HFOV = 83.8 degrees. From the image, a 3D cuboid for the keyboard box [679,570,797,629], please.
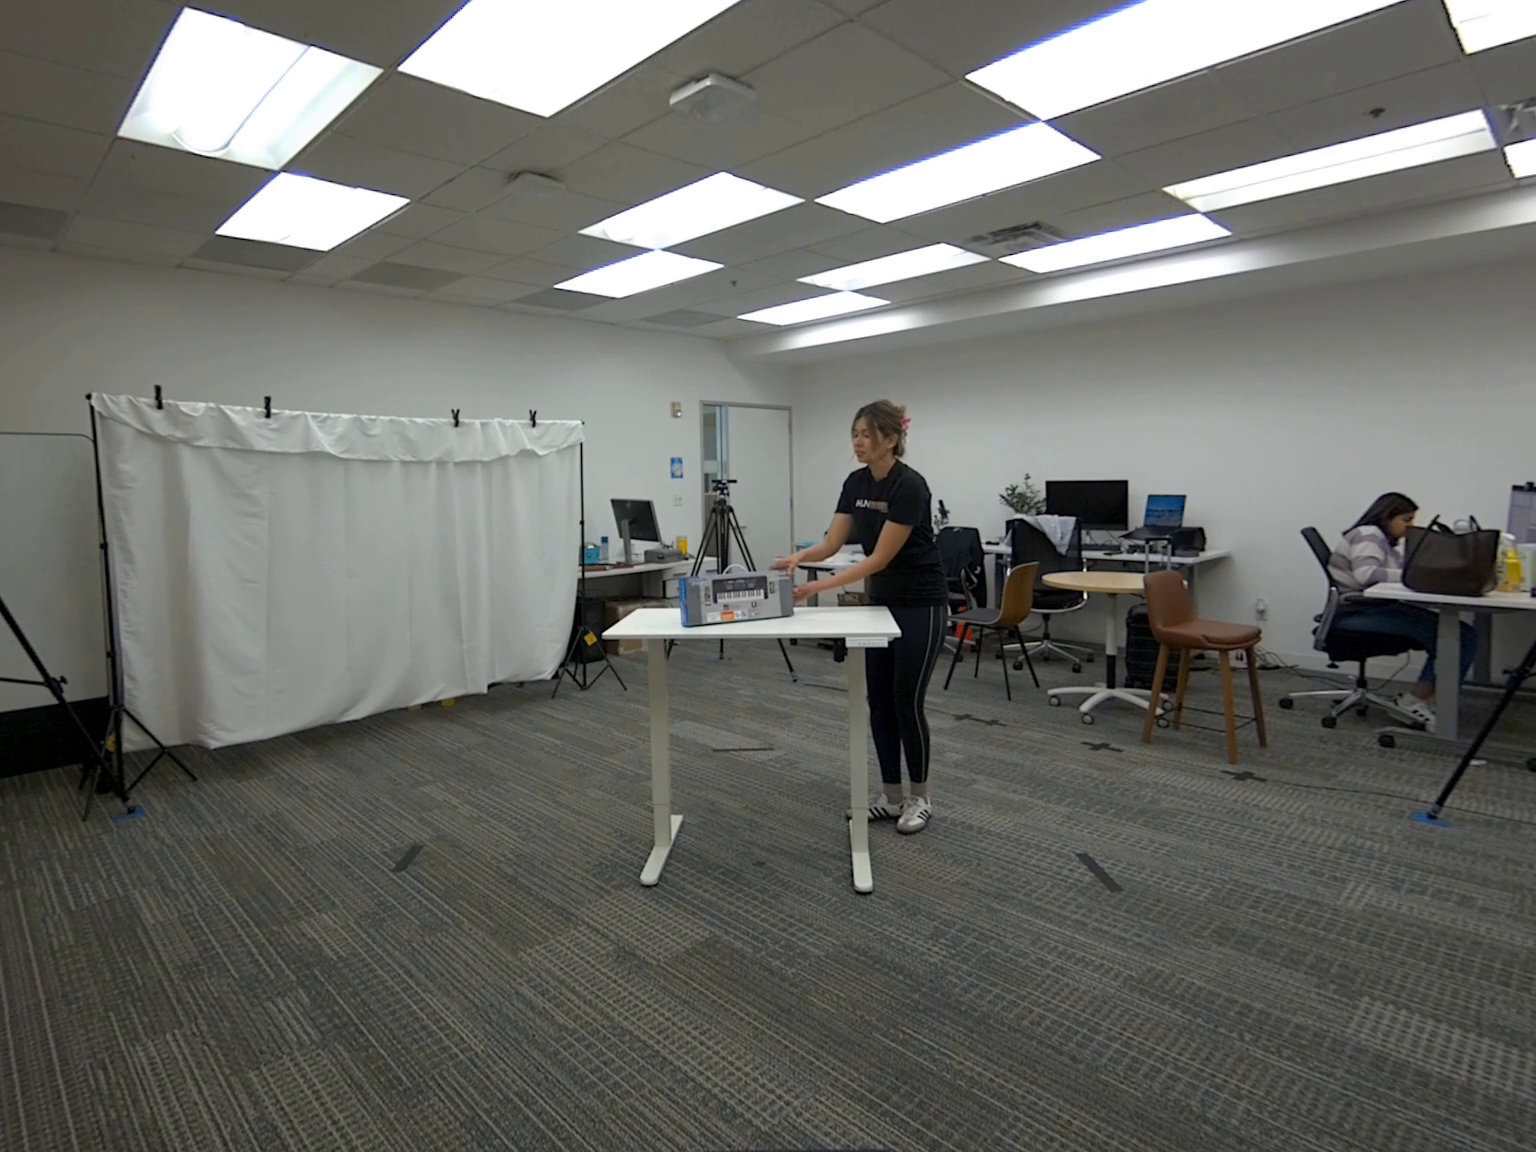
[{"bbox_3d":[-0.106,0.080,3.110,0.427,0.176,0.060,-4,-1,-27],"label":"keyboard box"}]
